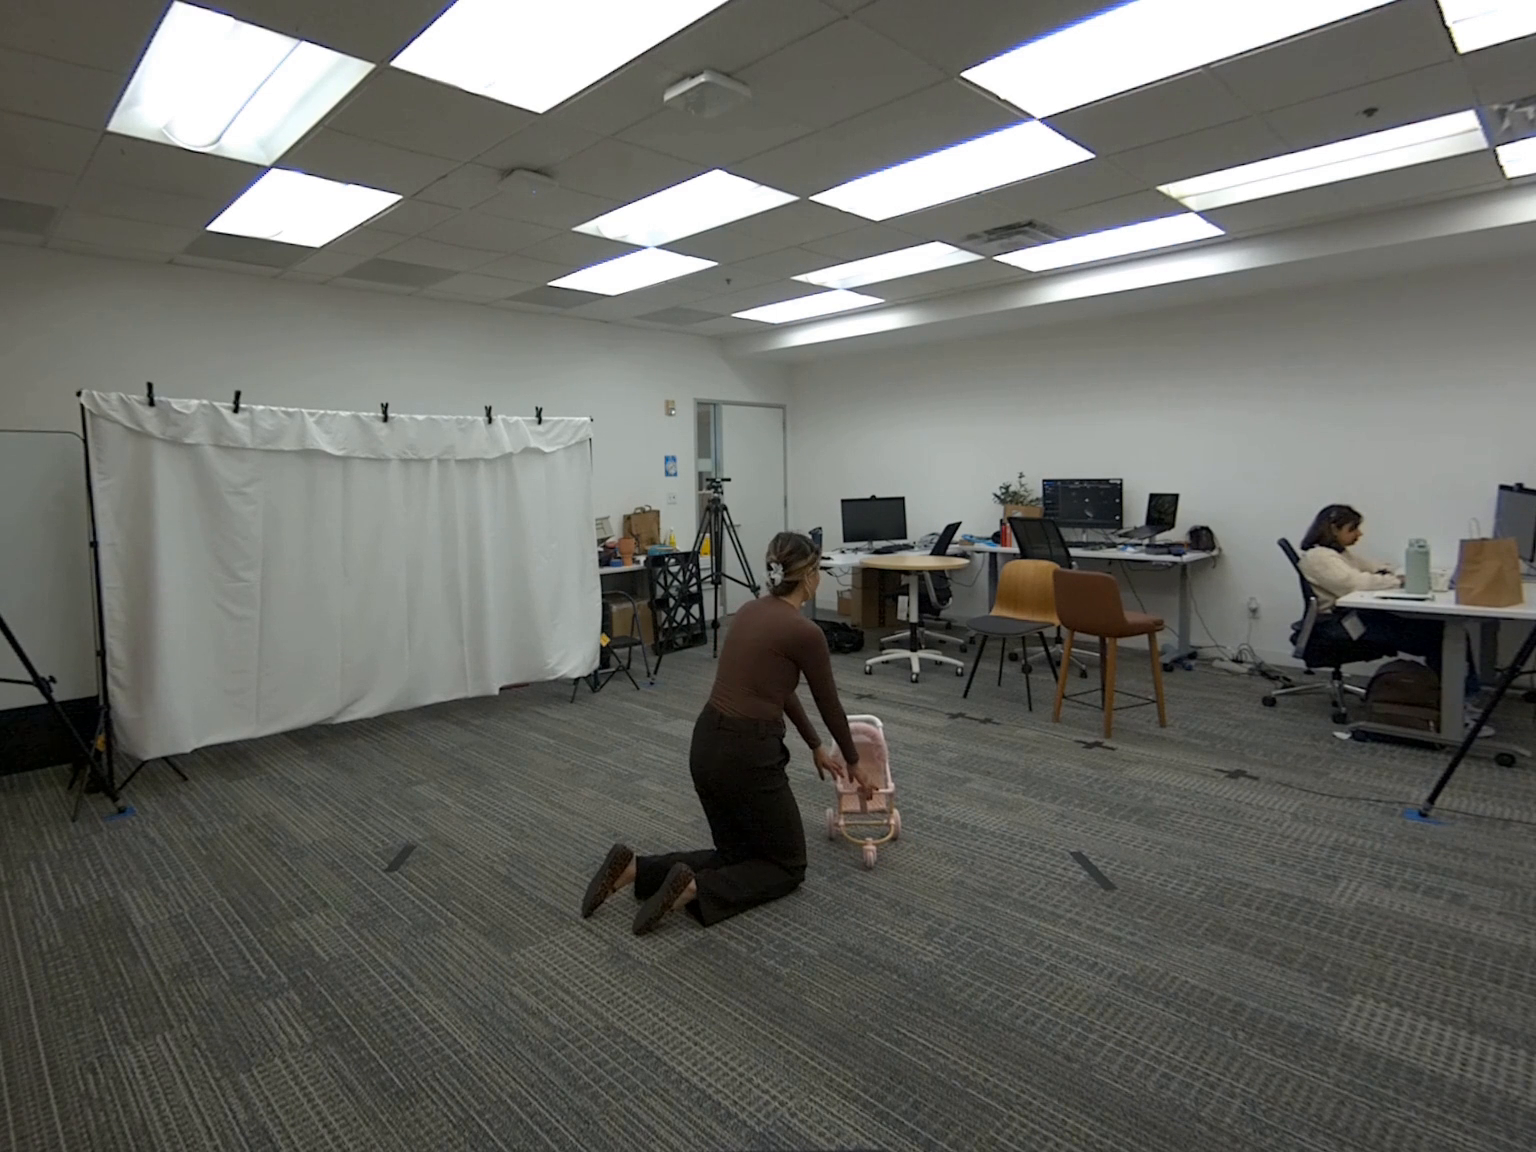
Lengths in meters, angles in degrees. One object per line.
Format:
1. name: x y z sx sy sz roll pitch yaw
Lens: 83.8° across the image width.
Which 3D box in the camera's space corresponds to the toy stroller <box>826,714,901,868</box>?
1. toy stroller: 0.354 0.794 3.232 0.283 0.541 0.335 -2 -11 6
